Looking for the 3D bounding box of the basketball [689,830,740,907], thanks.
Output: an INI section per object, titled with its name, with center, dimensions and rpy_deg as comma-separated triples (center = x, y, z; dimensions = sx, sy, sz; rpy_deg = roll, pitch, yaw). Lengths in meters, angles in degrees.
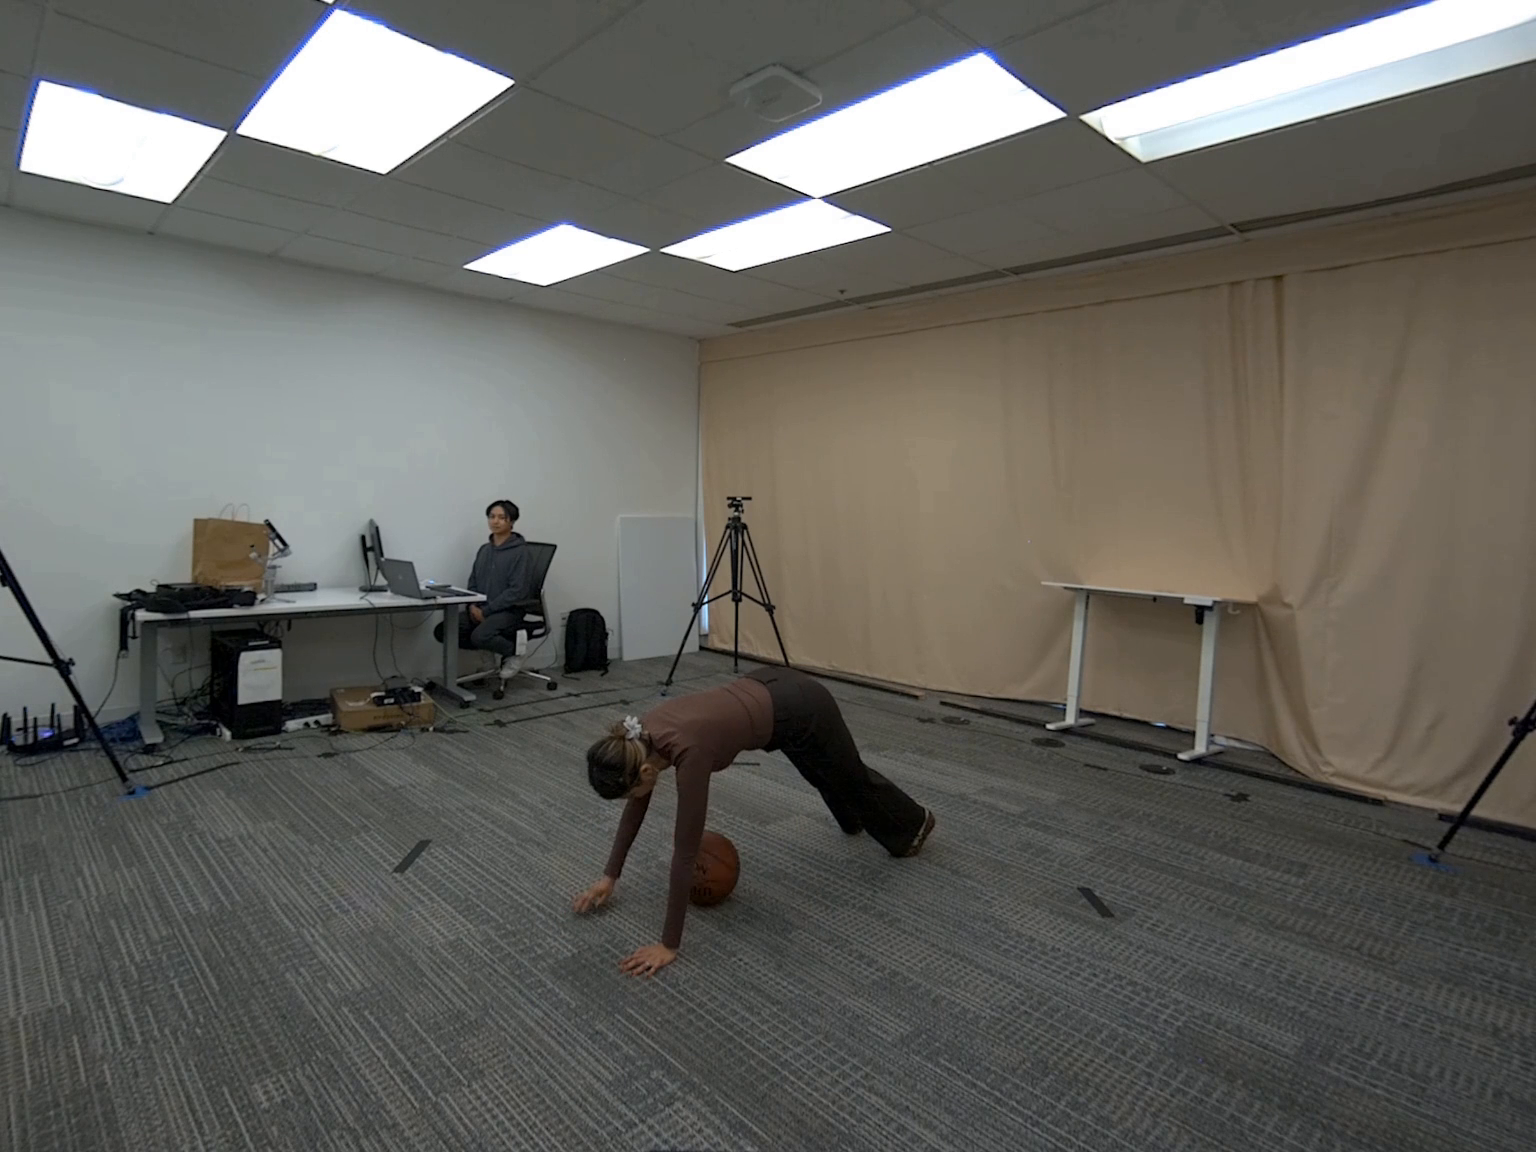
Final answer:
[basketball]
center = -0.216, 1.004, 2.903
dimensions = 0.236, 0.235, 0.237
rpy_deg = 1, 4, -1
